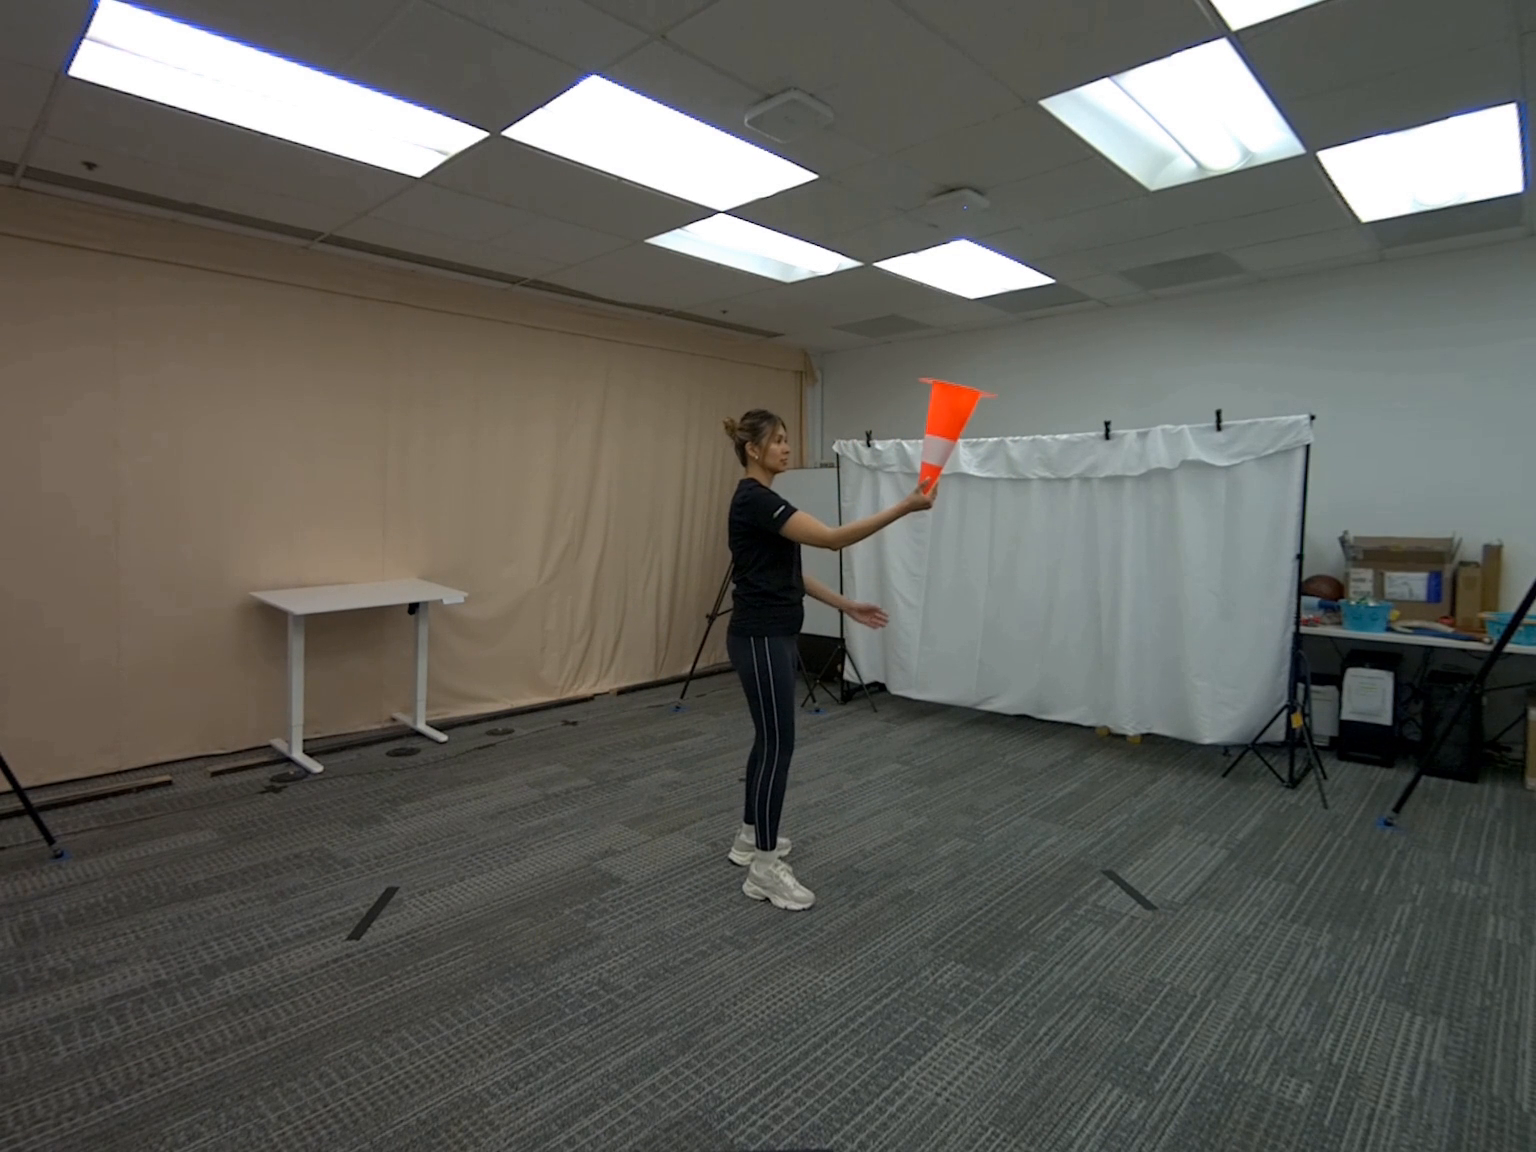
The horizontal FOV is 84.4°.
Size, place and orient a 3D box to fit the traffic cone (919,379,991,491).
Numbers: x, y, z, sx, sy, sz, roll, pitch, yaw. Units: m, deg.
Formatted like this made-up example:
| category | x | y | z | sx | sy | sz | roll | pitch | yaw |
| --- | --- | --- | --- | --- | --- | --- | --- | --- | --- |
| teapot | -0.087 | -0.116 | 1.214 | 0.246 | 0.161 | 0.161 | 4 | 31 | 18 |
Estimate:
| category | x | y | z | sx | sy | sz | roll | pitch | yaw |
| --- | --- | --- | --- | --- | --- | --- | --- | --- | --- |
| traffic cone | 0.563 | -0.429 | 2.746 | 0.202 | 0.382 | 0.207 | 11 | 11 | -14 |
